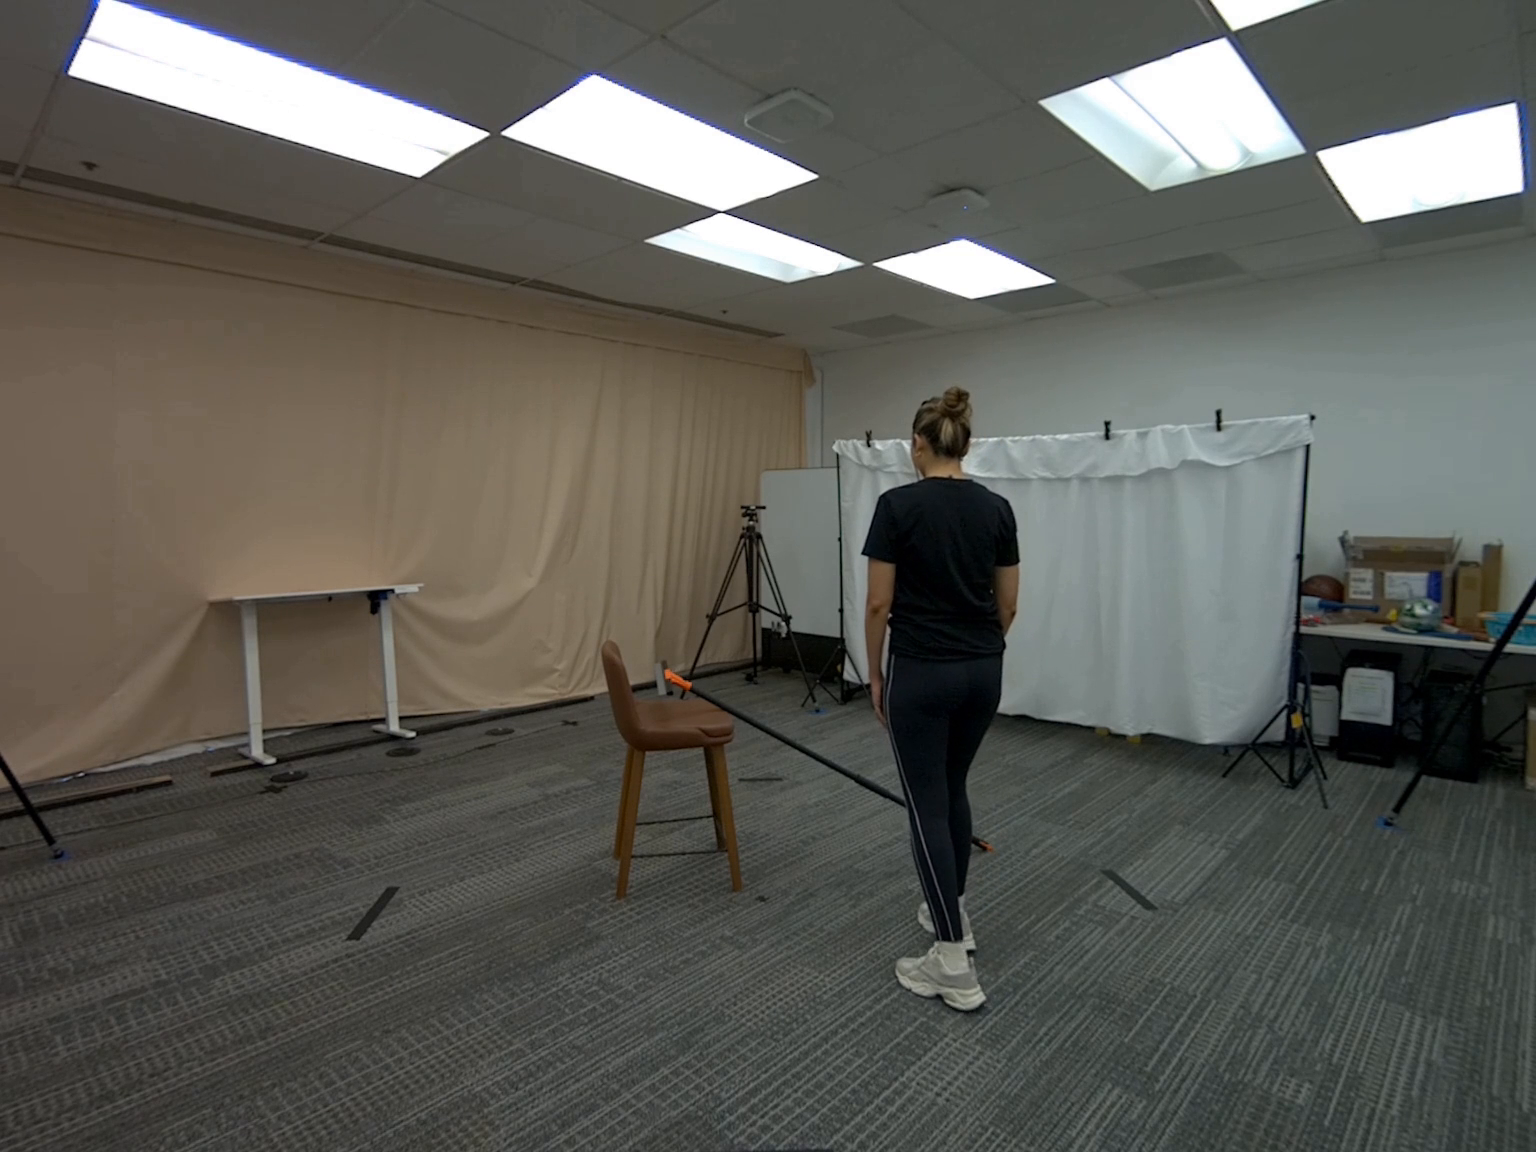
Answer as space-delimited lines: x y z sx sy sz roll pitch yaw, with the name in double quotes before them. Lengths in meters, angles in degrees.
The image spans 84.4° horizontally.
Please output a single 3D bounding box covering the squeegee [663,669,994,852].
"squeegee" 0.242 0.724 3.274 1.518 0.053 0.443 29 19 -10
